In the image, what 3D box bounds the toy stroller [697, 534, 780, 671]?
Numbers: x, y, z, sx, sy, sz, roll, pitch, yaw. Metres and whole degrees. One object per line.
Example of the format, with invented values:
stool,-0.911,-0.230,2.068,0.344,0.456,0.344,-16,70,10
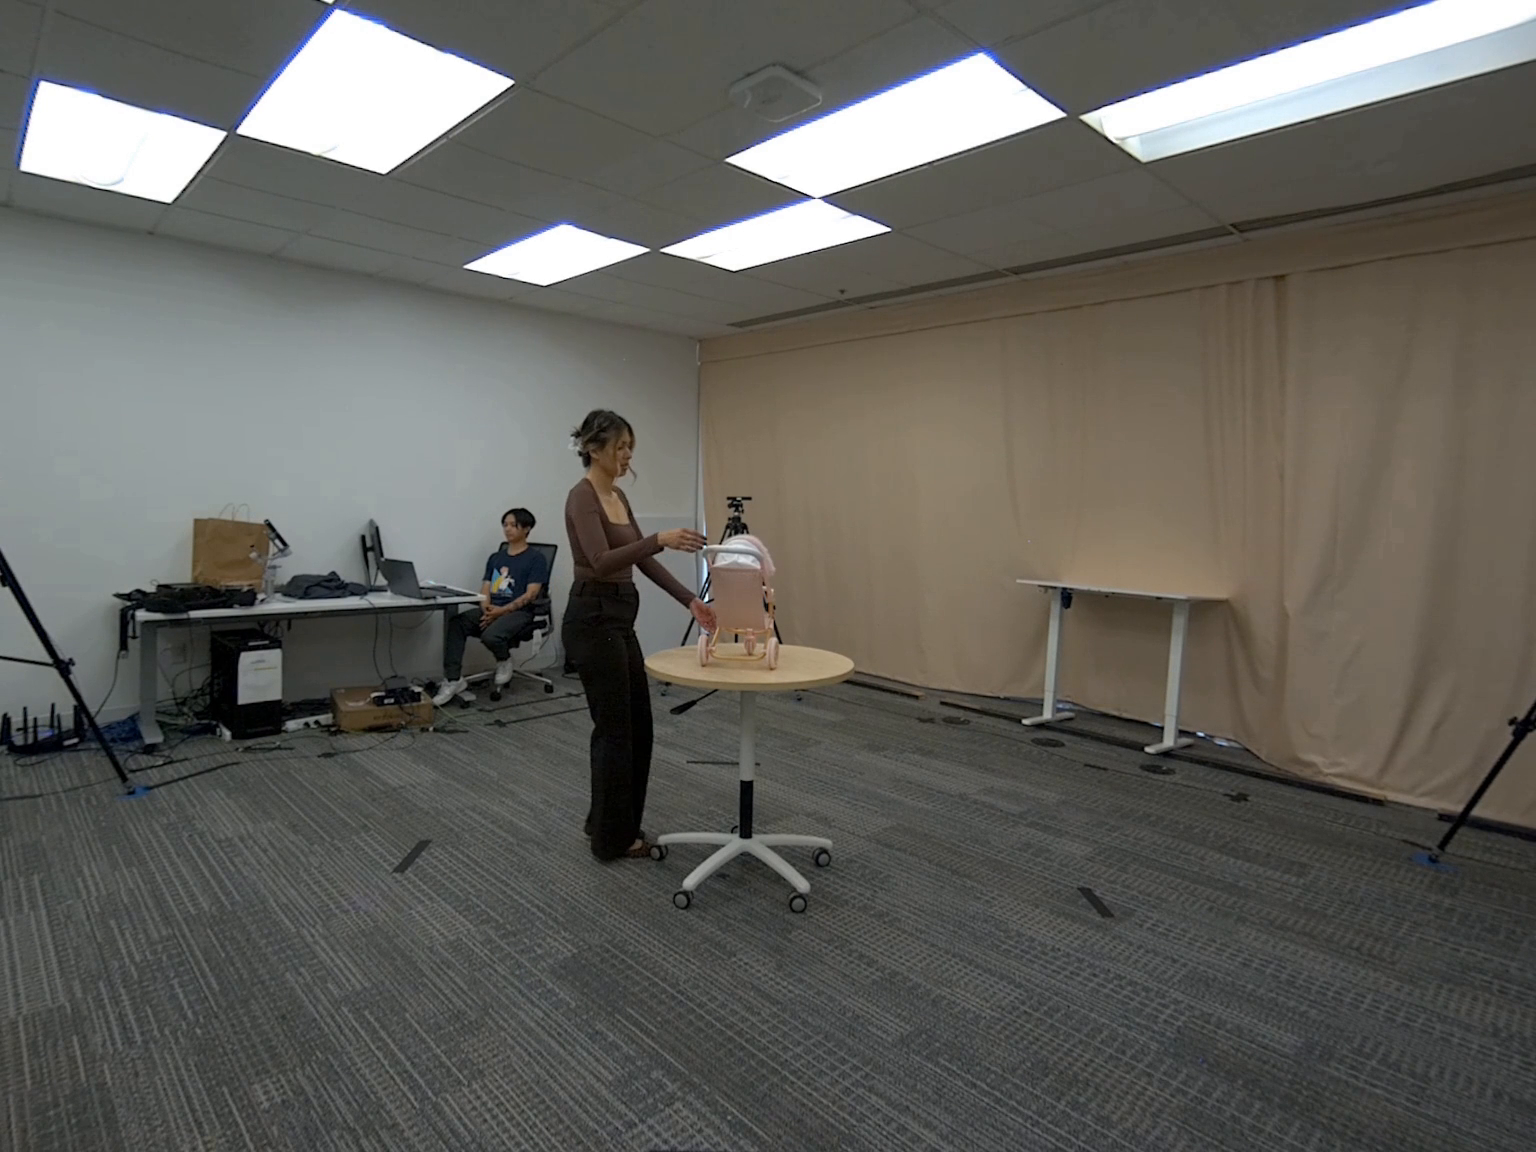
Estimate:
toy stroller,-0.097,0.092,3.017,0.285,0.528,0.342,3,19,13
